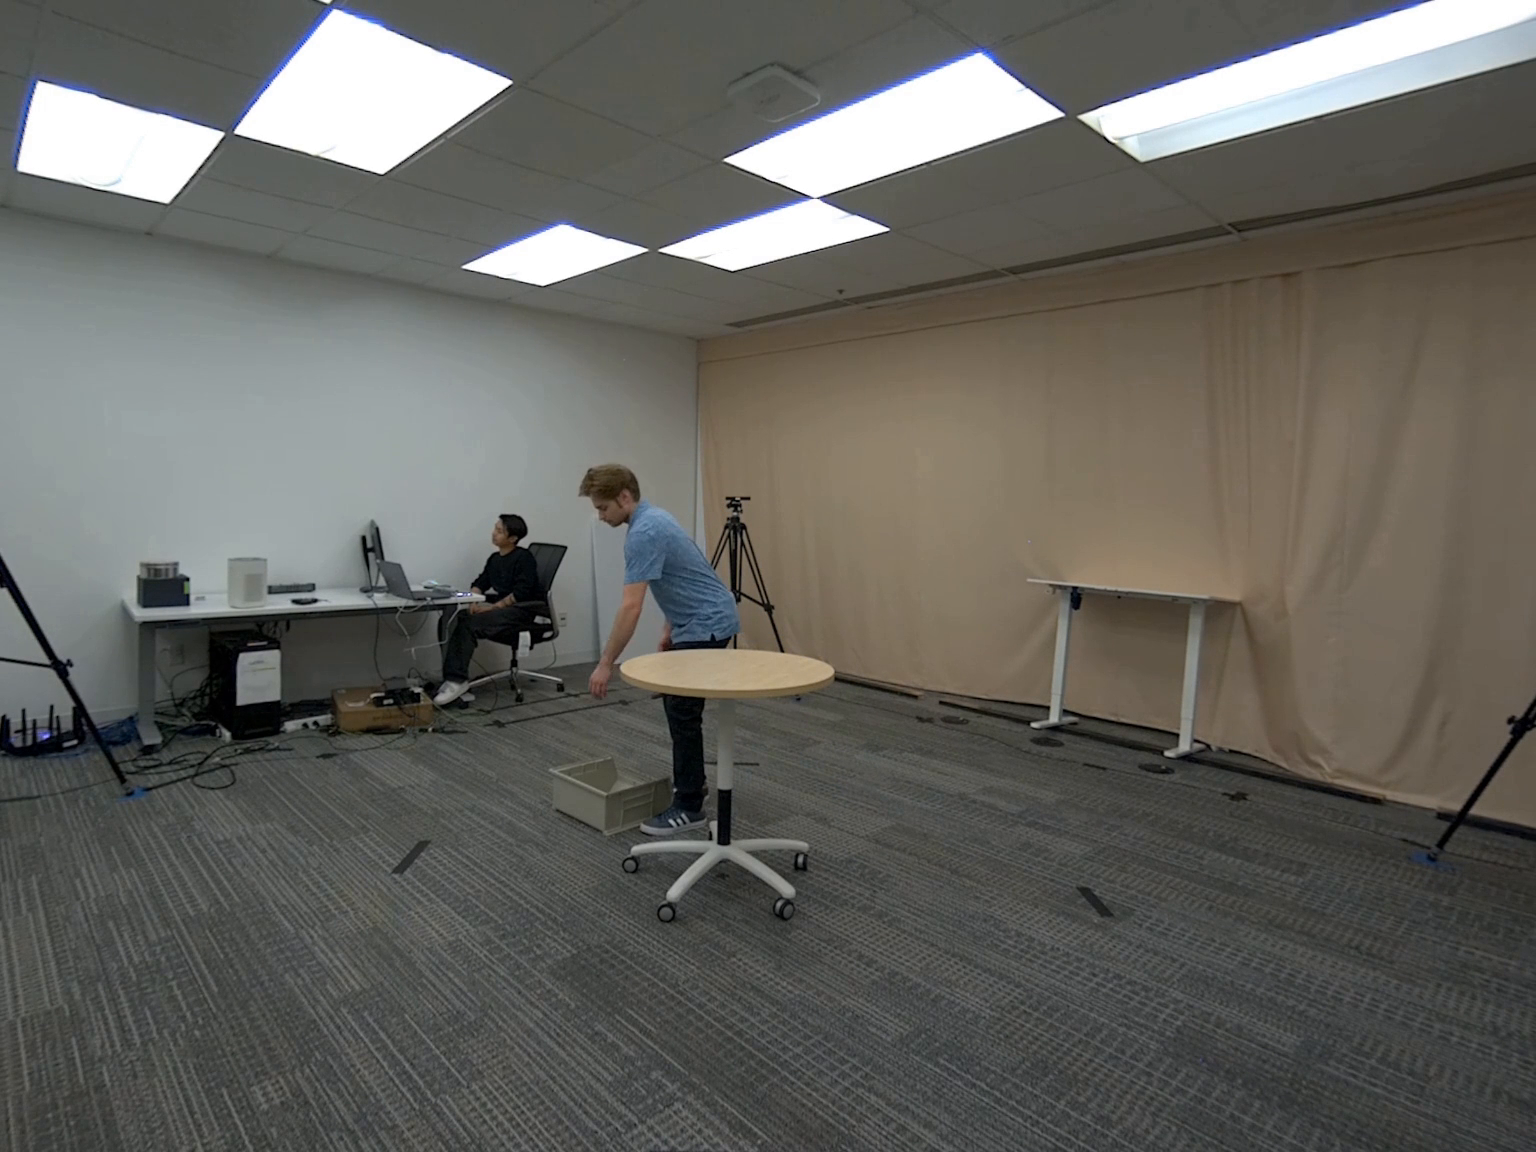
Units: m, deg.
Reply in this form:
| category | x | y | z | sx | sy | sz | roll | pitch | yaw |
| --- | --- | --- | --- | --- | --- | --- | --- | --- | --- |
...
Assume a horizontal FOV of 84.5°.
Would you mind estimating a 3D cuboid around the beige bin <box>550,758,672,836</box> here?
| category | x | y | z | sx | sy | sz | roll | pitch | yaw |
| --- | --- | --- | --- | --- | --- | --- | --- | --- | --- |
| beige bin | -0.696 | 0.954 | 3.703 | 0.433 | 0.188 | 0.369 | 7 | 8 | 44 |
